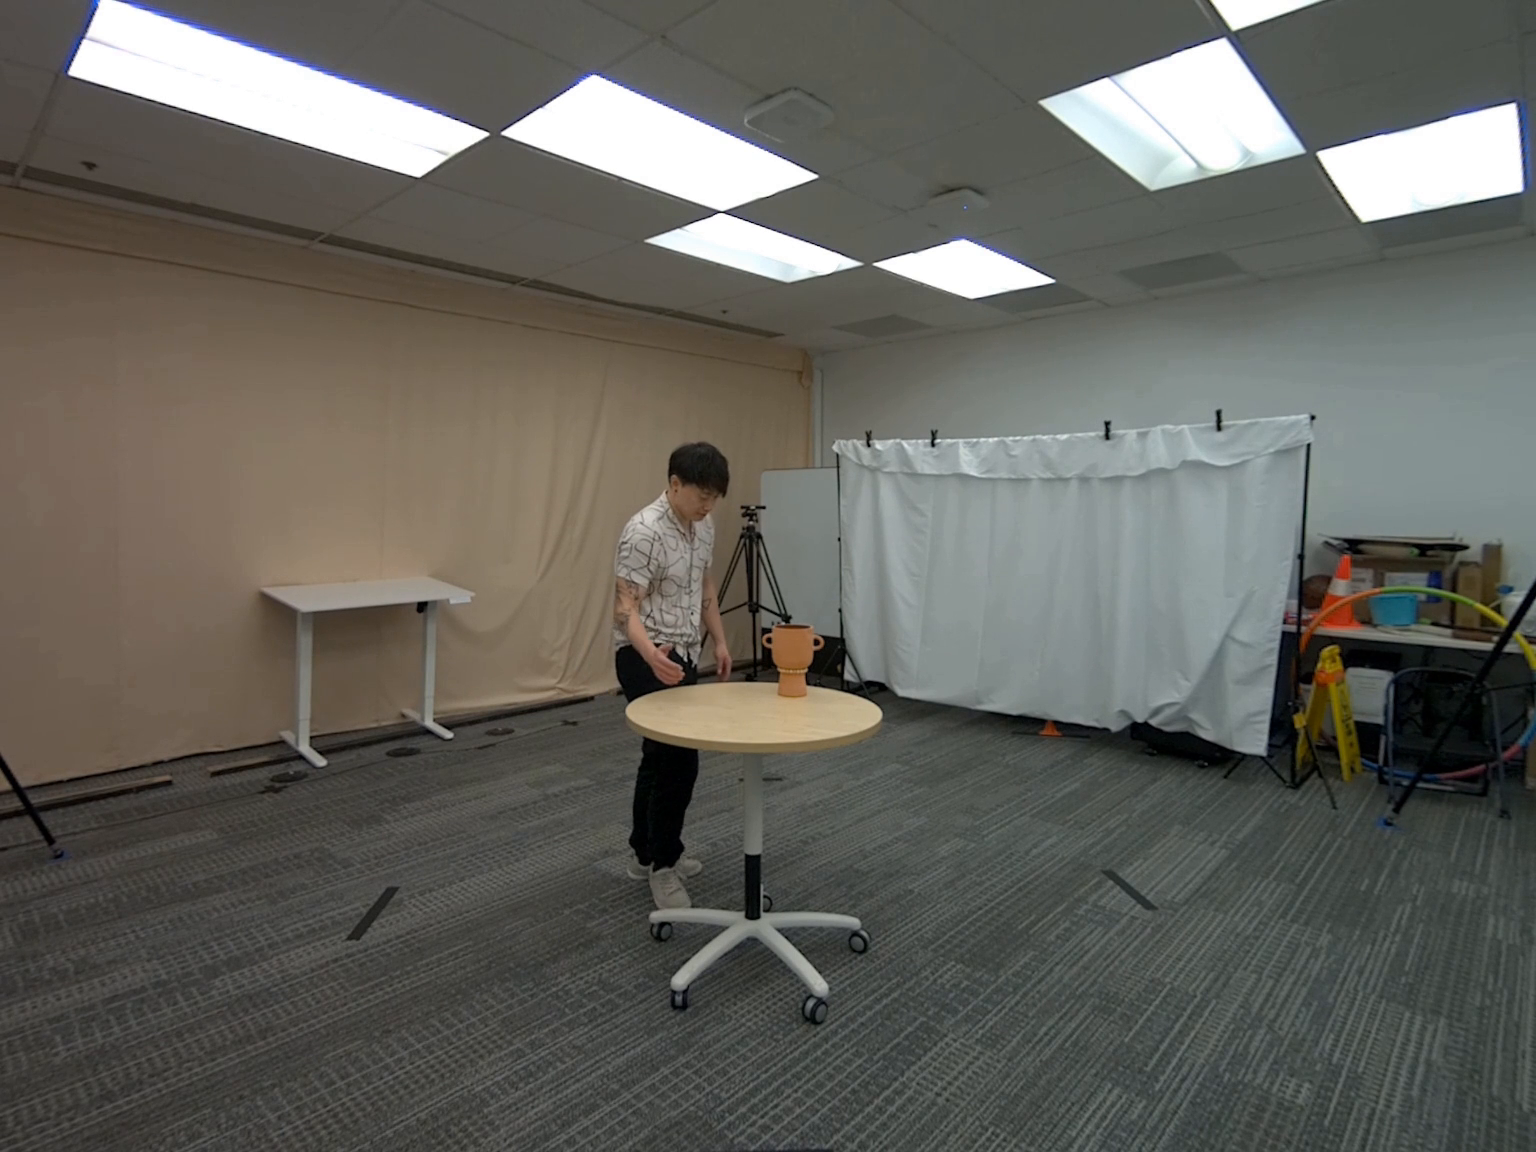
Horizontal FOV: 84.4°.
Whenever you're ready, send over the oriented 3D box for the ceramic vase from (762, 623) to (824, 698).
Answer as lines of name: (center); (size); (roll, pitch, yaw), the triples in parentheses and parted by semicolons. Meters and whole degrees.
ceramic vase: (0.085, 0.275, 2.725); (0.130, 0.219, 0.164); (-1, 2, -41)
